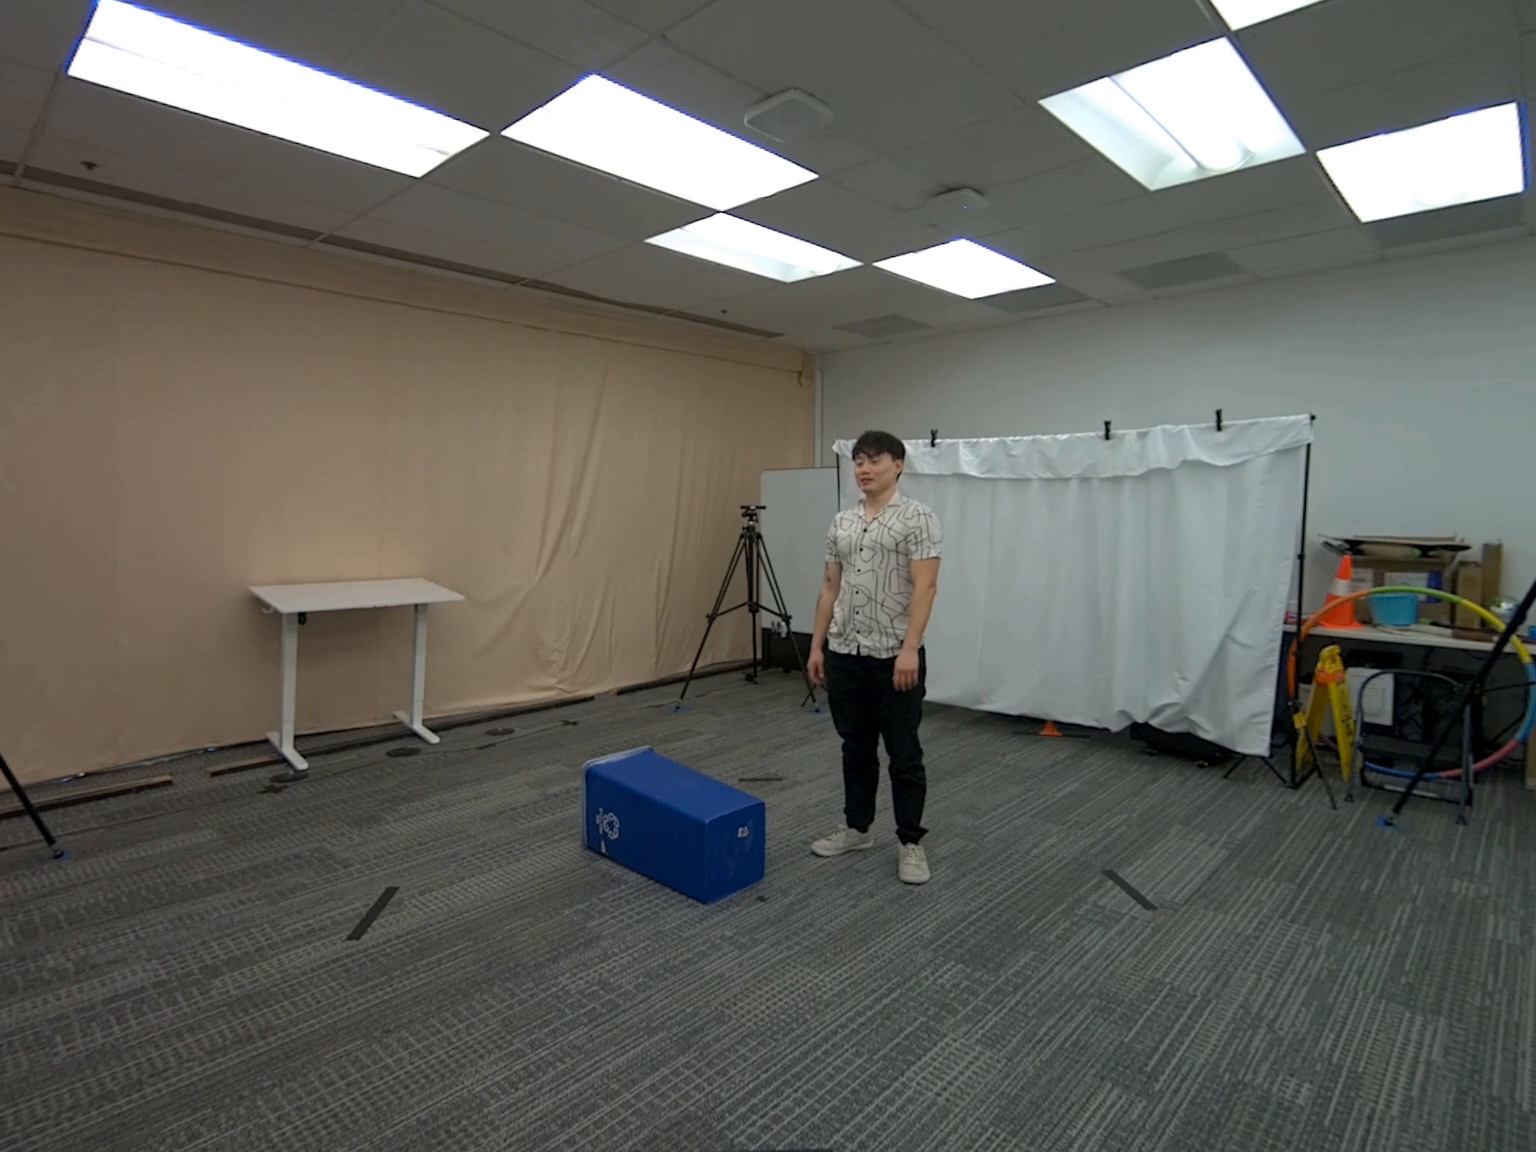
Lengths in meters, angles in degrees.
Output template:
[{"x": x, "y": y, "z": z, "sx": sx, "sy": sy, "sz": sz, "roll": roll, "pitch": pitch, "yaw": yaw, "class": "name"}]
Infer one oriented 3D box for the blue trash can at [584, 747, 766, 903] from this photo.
[{"x": -0.373, "y": 0.952, "z": 3.271, "sx": 0.362, "sy": 0.377, "sz": 0.738, "roll": -4, "pitch": 7, "yaw": -44, "class": "blue trash can"}]
